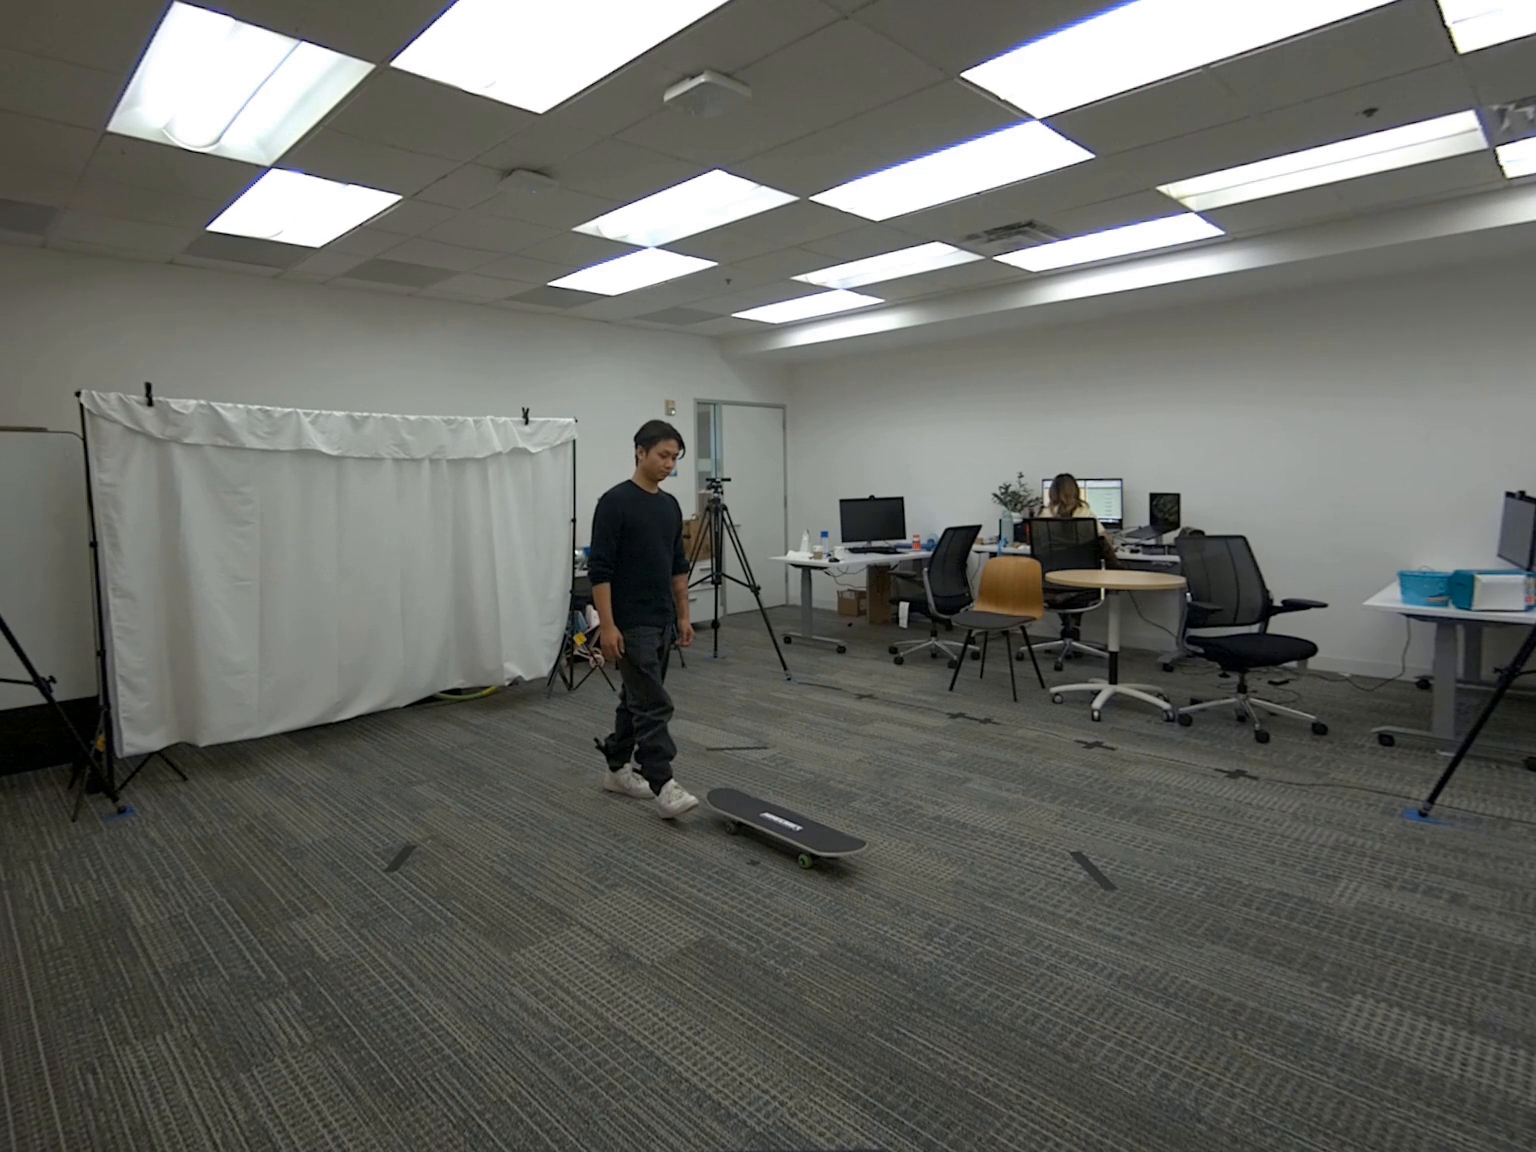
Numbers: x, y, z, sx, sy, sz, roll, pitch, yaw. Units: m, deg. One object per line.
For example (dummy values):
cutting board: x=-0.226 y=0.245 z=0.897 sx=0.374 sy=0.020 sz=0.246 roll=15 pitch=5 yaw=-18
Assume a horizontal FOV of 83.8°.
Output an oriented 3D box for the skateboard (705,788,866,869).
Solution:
skateboard: x=0.056 y=0.969 z=3.252 sx=0.188 sy=0.110 sz=0.810 roll=-7 pitch=8 yaw=-41
